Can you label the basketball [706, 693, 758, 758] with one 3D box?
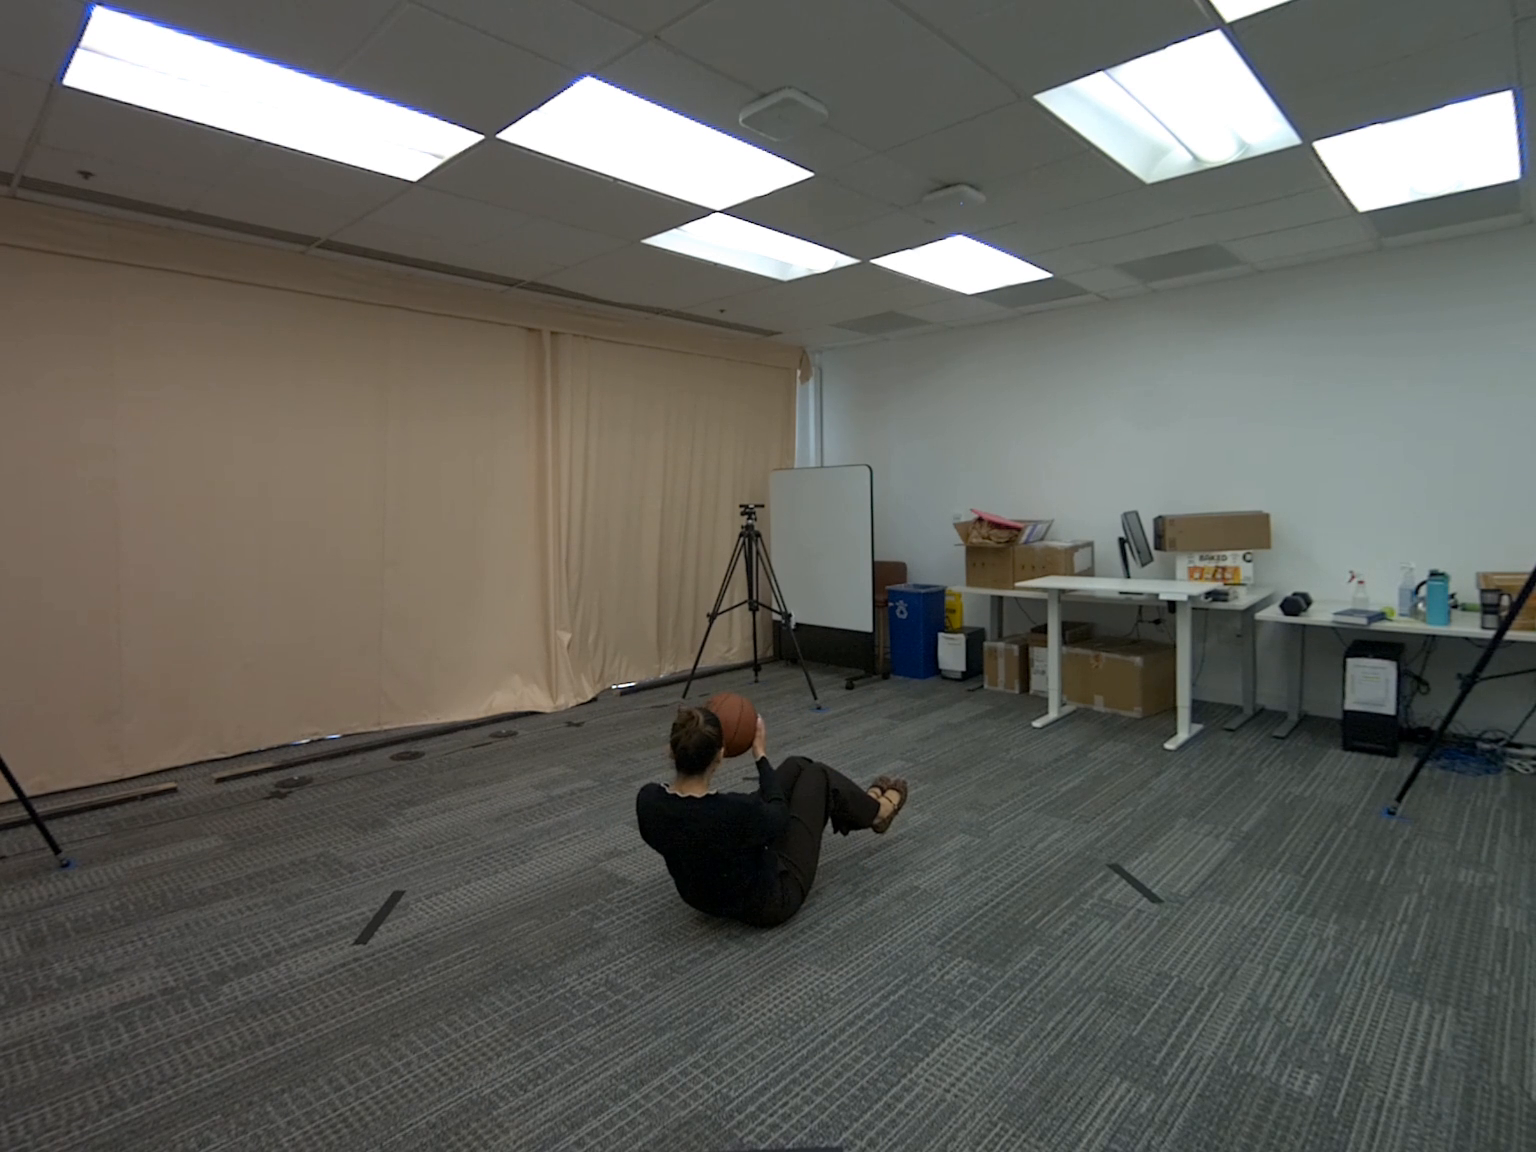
[{"bbox_3d":[-0.140,0.552,3.077,0.236,0.235,0.237,-1,4,-2],"label":"basketball"}]
